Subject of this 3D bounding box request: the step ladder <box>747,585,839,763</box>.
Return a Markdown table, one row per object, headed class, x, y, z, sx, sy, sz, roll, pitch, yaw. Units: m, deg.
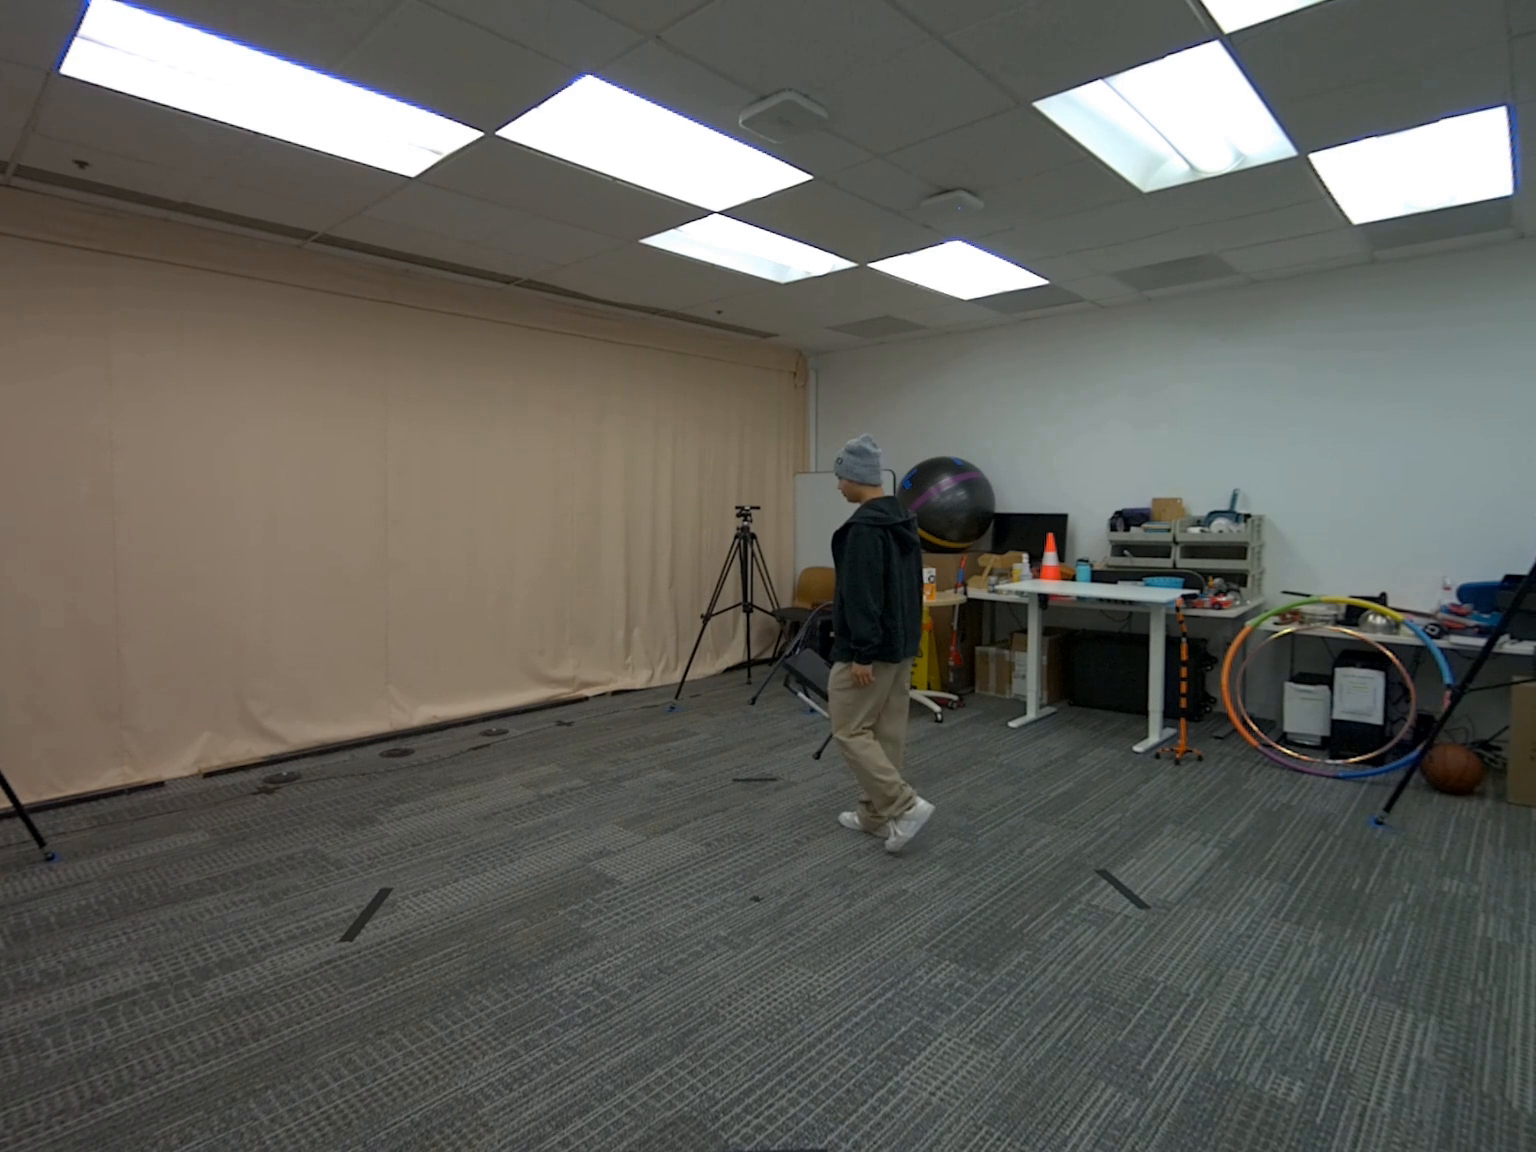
| class | x | y | z | sx | sy | sz | roll | pitch | yaw |
| --- | --- | --- | --- | --- | --- | --- | --- | --- | --- |
| step ladder | 0.277 | 0.438 | 3.903 | 0.442 | 0.604 | 0.341 | 36 | 25 | 22 |
